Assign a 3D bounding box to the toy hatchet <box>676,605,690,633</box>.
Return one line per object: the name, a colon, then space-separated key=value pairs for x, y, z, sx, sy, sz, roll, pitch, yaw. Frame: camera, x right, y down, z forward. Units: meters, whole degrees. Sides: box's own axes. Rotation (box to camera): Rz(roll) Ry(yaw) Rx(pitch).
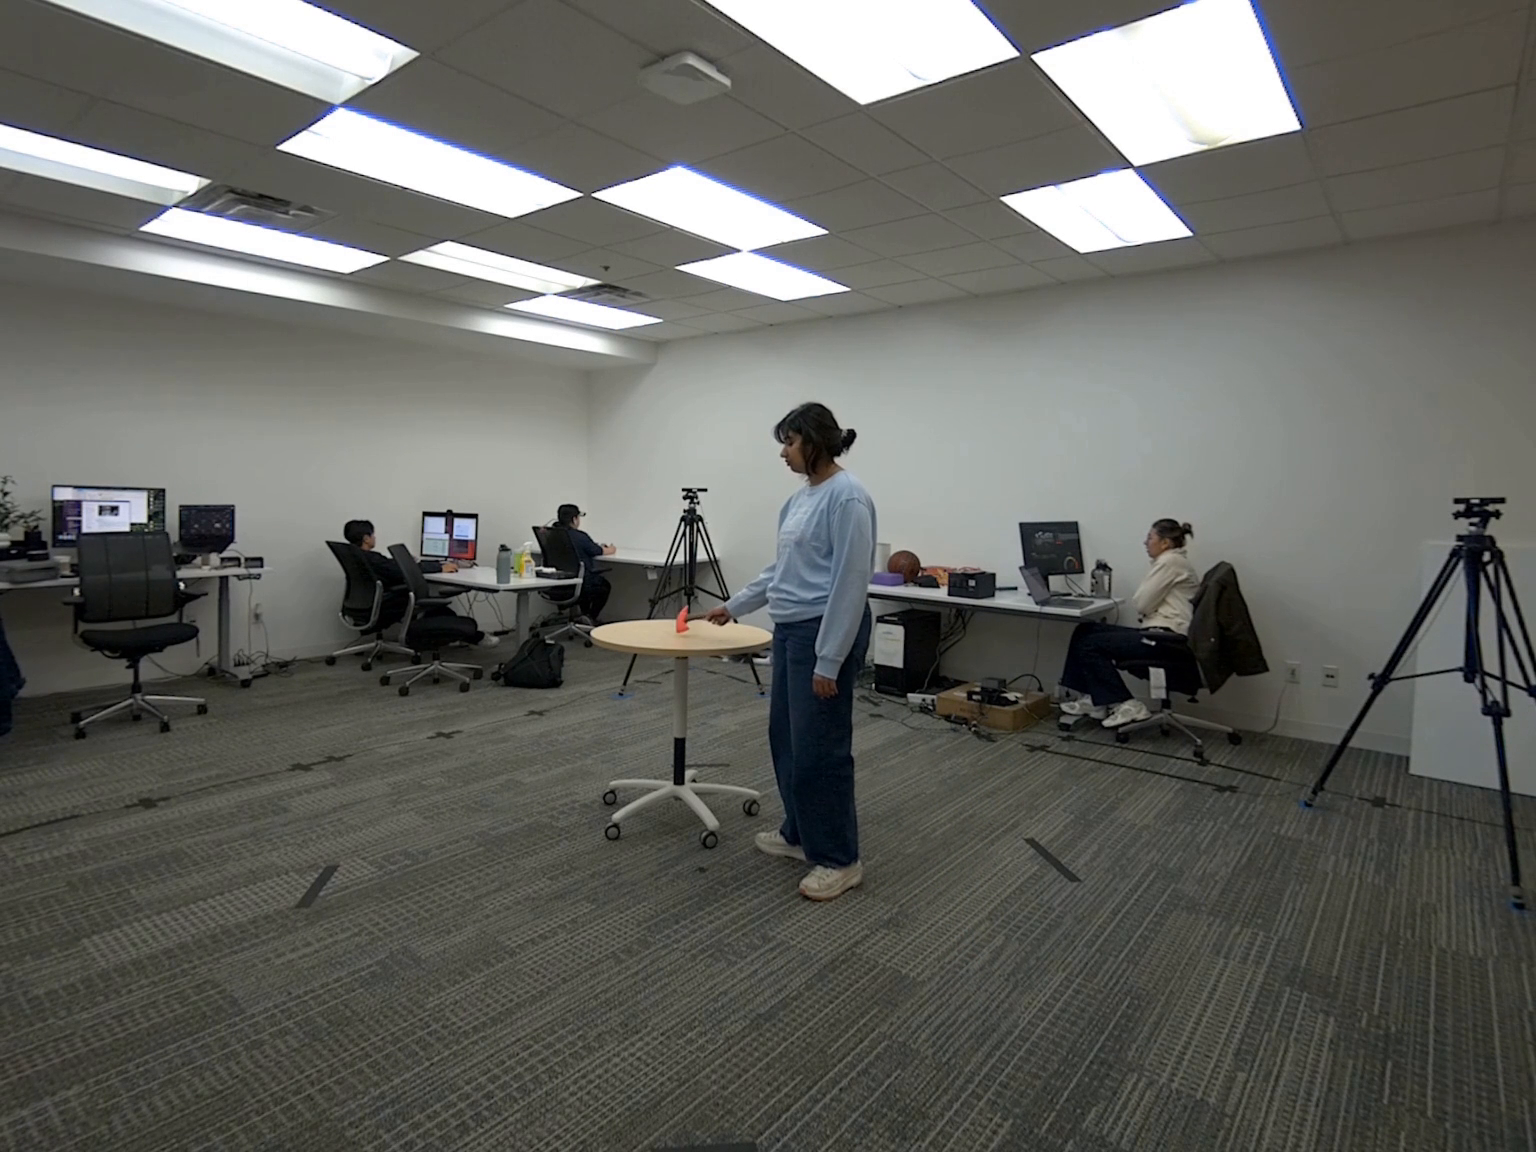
toy hatchet: x=-0.296 y=0.189 z=3.433 sx=0.280 sy=0.131 sz=0.028 roll=13 pitch=-29 yaw=46
